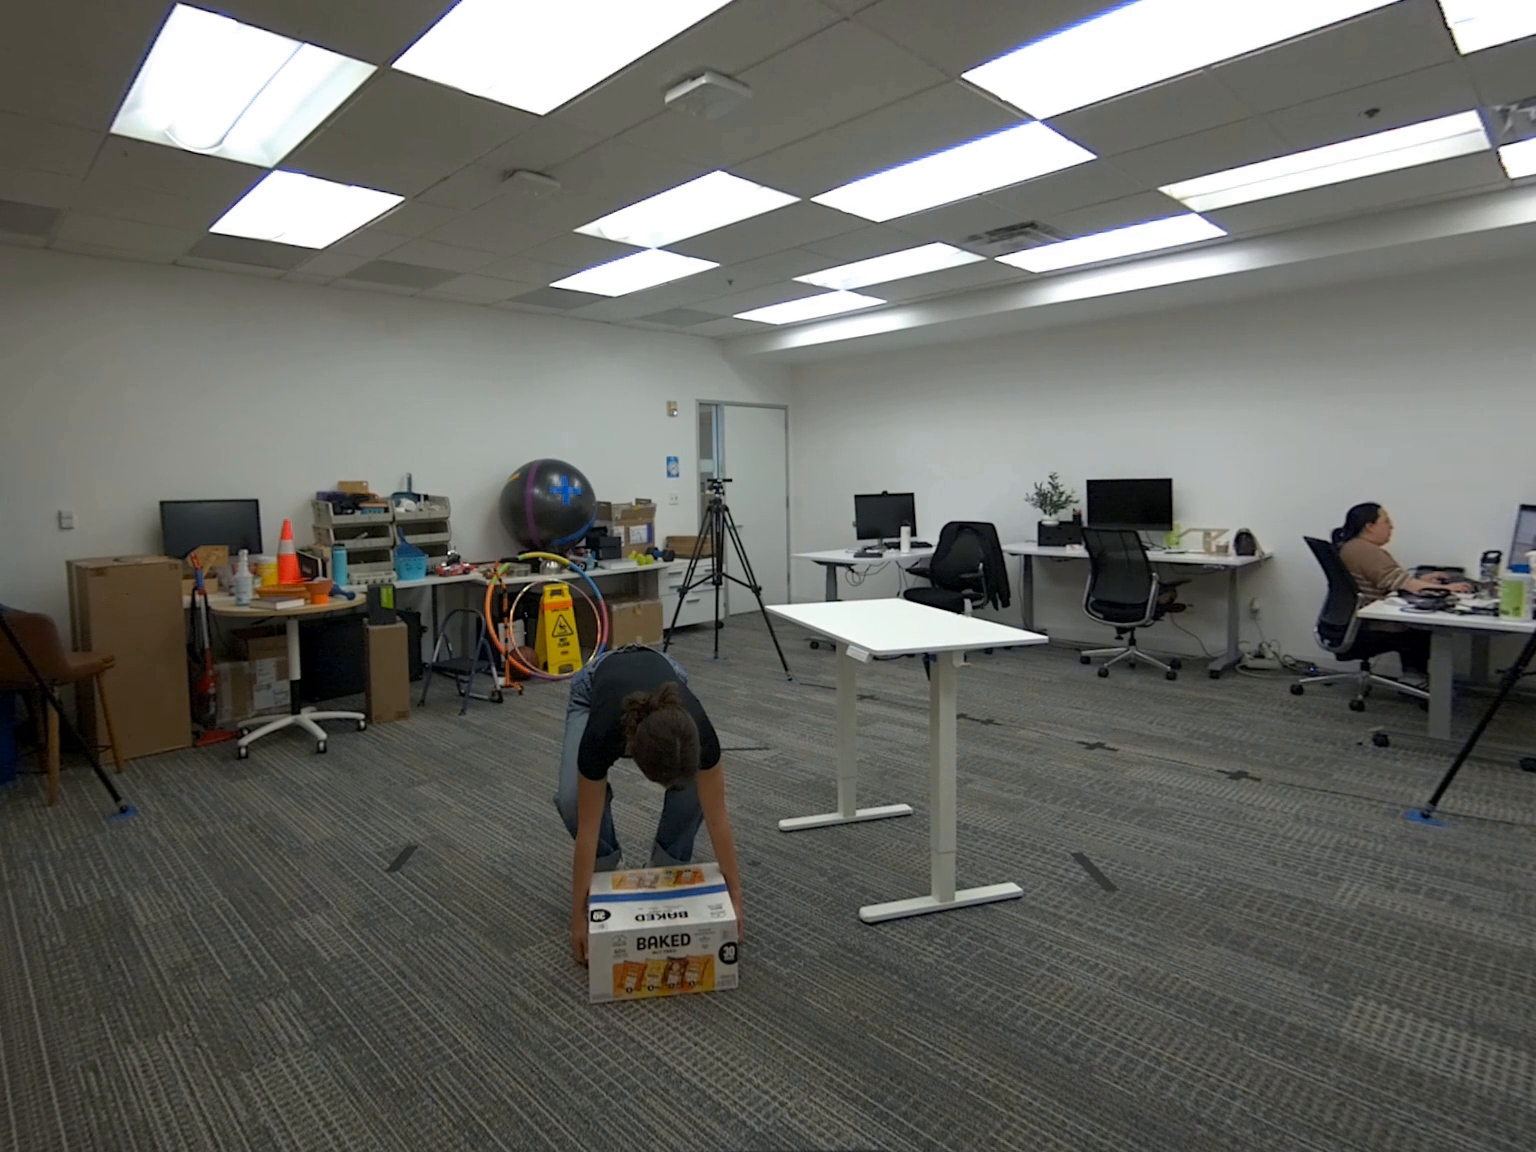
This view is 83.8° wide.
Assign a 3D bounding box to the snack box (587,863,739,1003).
[{"bbox_3d":[-0.310,1.024,2.467,0.402,0.205,0.345,-2,6,-10],"label":"snack box"}]
